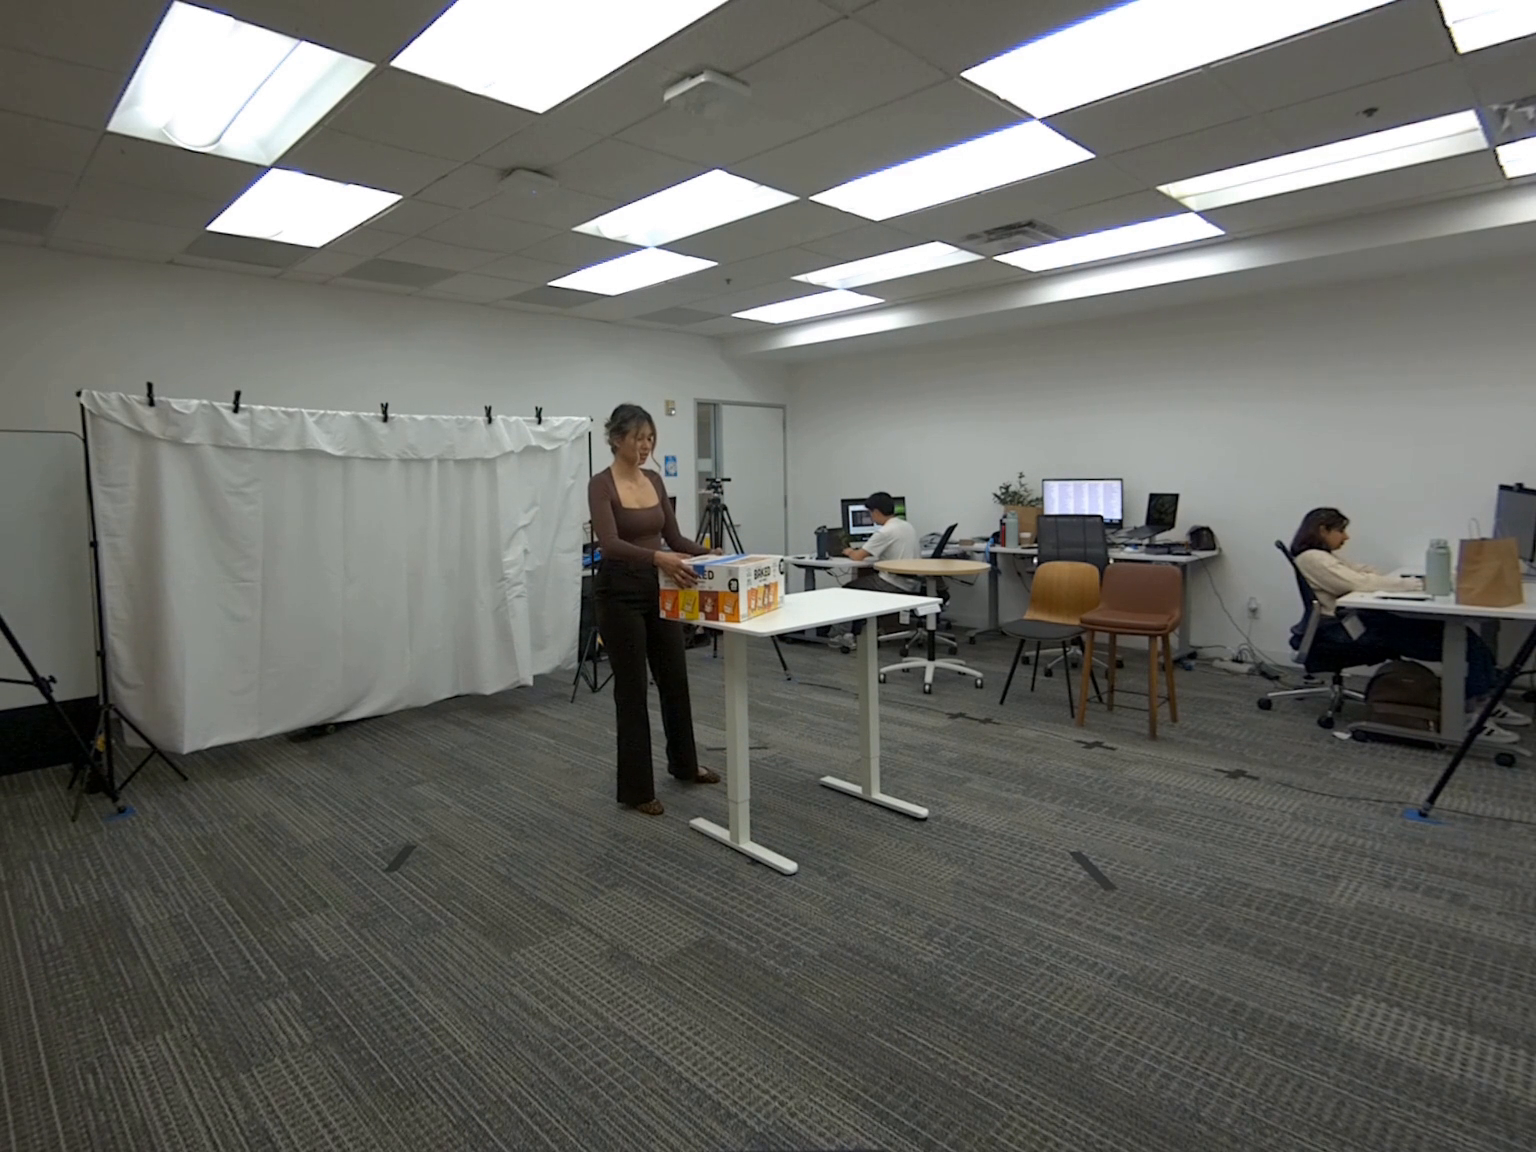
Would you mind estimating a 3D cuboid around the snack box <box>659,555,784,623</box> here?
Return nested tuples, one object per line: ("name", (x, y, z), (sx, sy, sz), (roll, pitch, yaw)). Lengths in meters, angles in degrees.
("snack box", (-0.173, 0.038, 3.304), (0.348, 0.205, 0.397), (2, 7, 26))
